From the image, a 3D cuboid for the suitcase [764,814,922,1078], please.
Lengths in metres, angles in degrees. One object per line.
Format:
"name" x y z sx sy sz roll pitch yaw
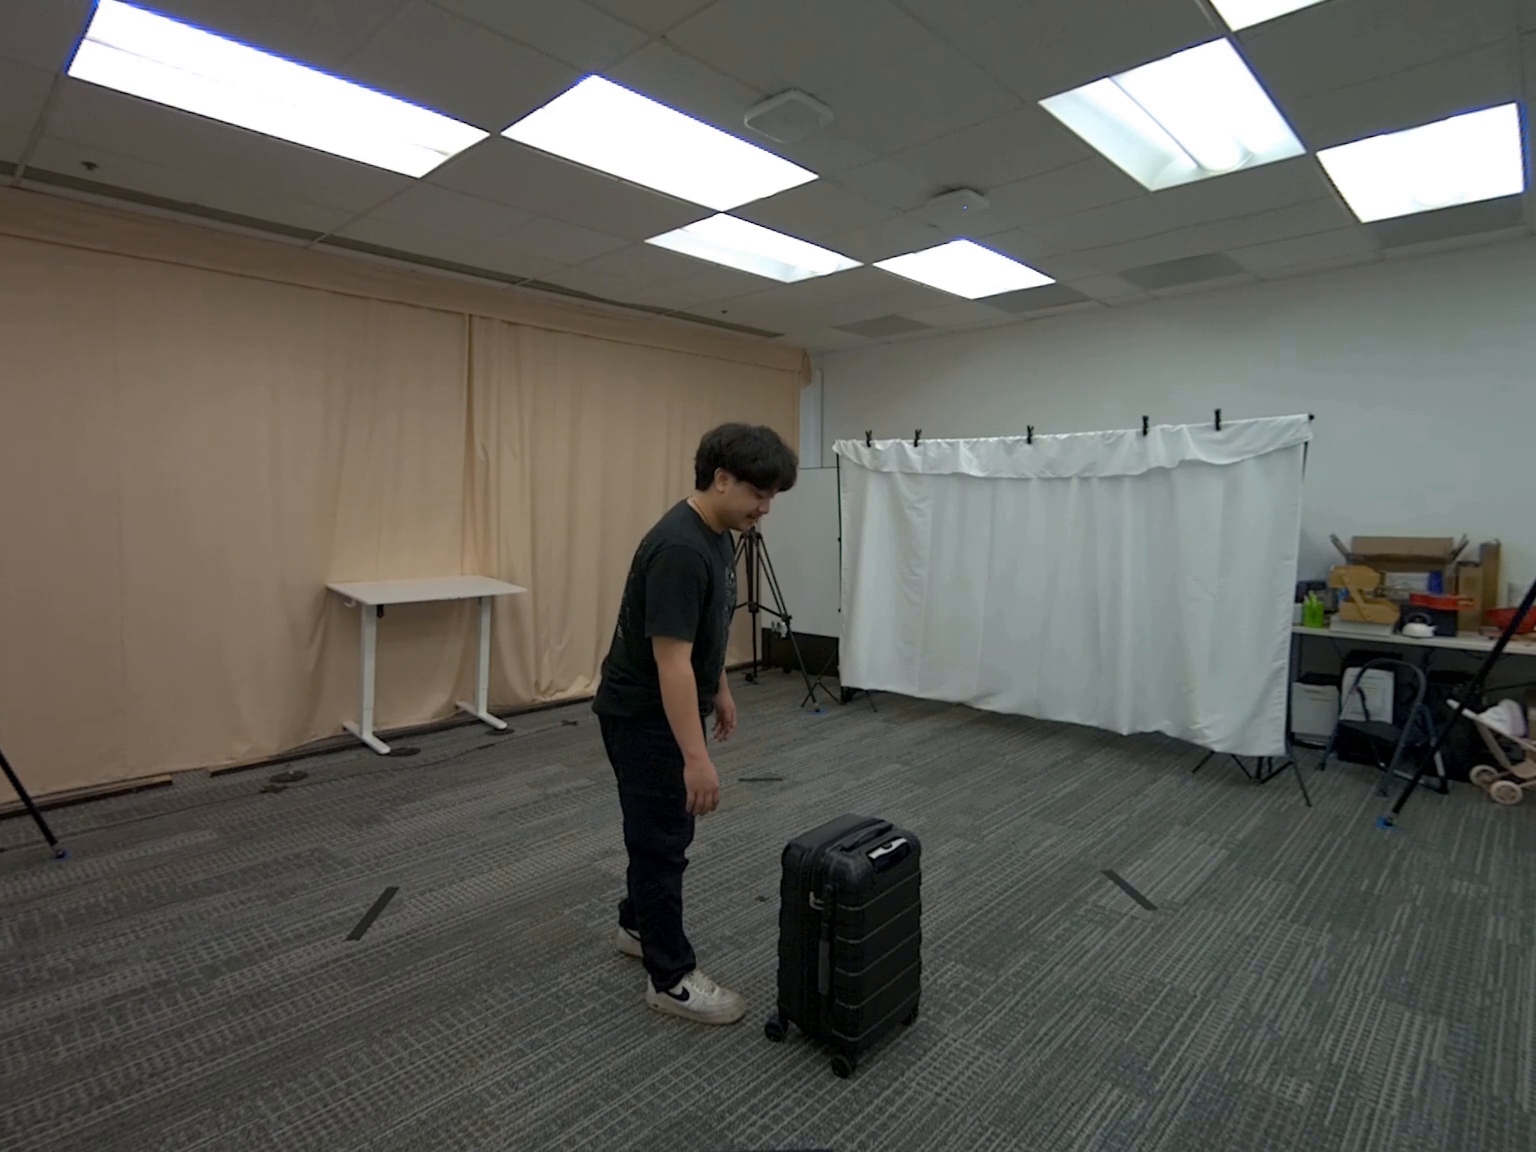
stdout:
"suitcase" 0.223 0.935 2.202 0.257 0.548 0.364 6 6 43
